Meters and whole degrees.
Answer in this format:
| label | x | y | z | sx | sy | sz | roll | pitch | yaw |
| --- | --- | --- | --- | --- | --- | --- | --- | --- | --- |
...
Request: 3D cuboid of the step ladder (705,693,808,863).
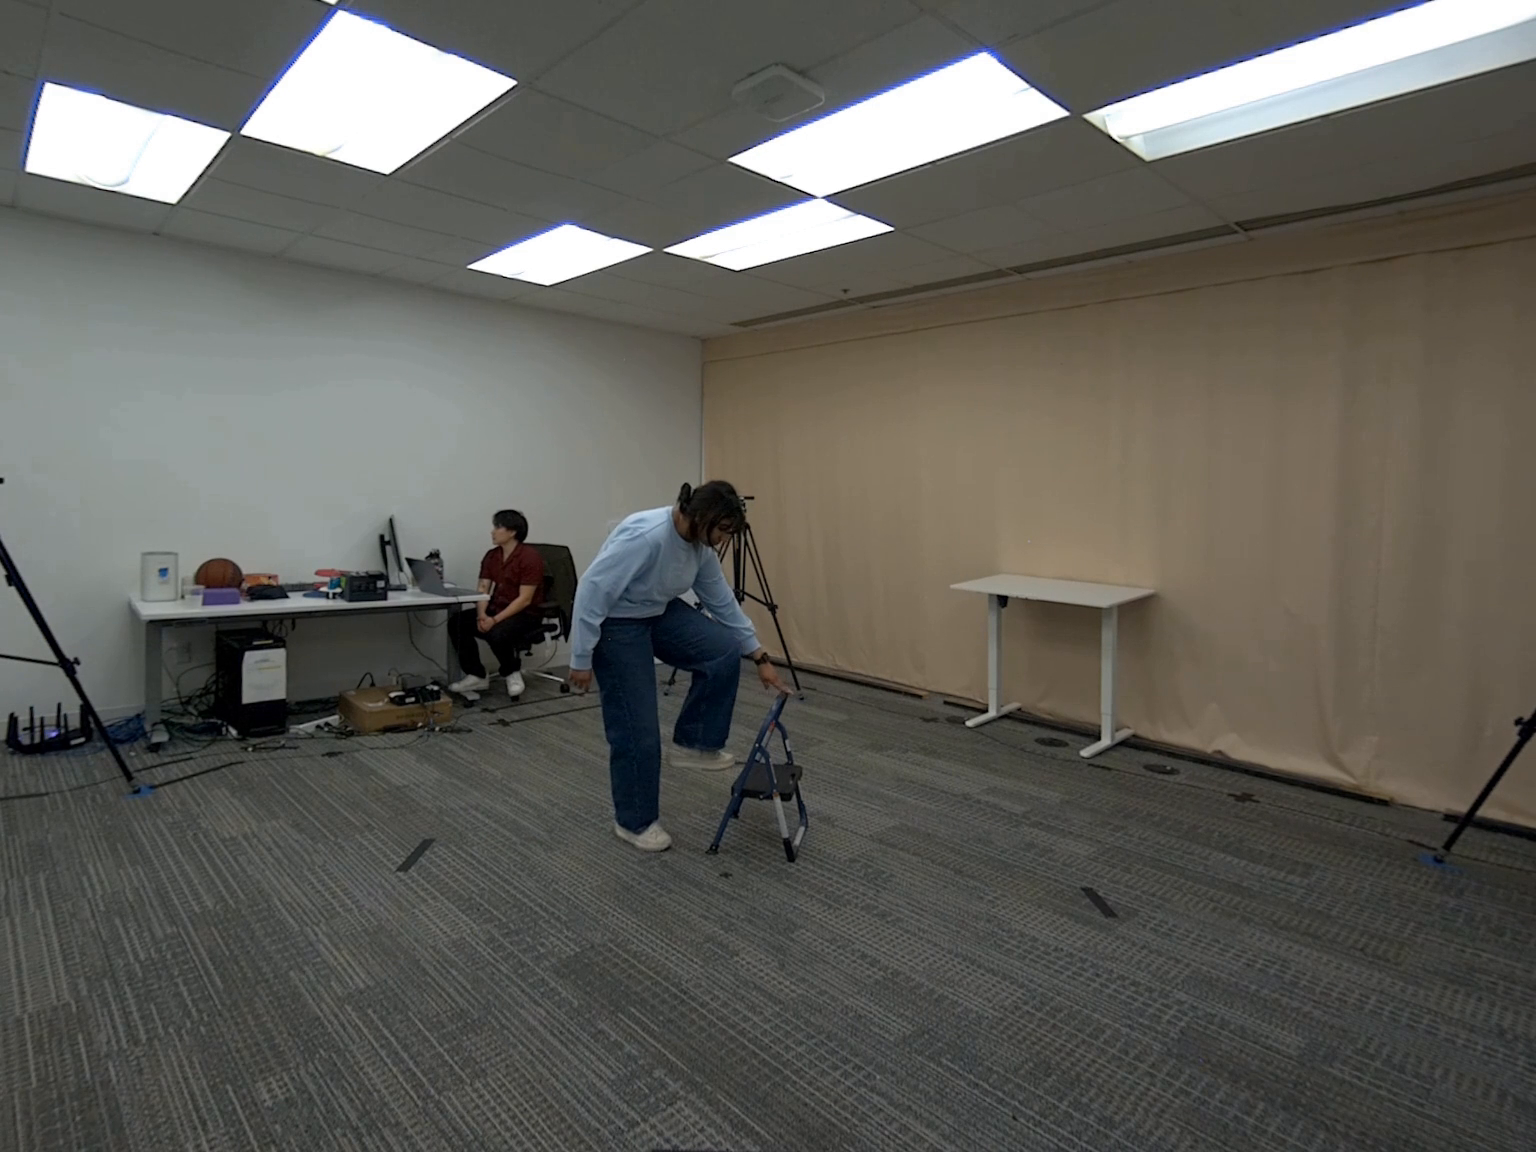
| label | x | y | z | sx | sy | sz | roll | pitch | yaw |
| --- | --- | --- | --- | --- | --- | --- | --- | --- | --- |
| step ladder | -0.032 | 0.776 | 3.443 | 0.353 | 0.605 | 0.427 | 1 | 3 | 11 |
